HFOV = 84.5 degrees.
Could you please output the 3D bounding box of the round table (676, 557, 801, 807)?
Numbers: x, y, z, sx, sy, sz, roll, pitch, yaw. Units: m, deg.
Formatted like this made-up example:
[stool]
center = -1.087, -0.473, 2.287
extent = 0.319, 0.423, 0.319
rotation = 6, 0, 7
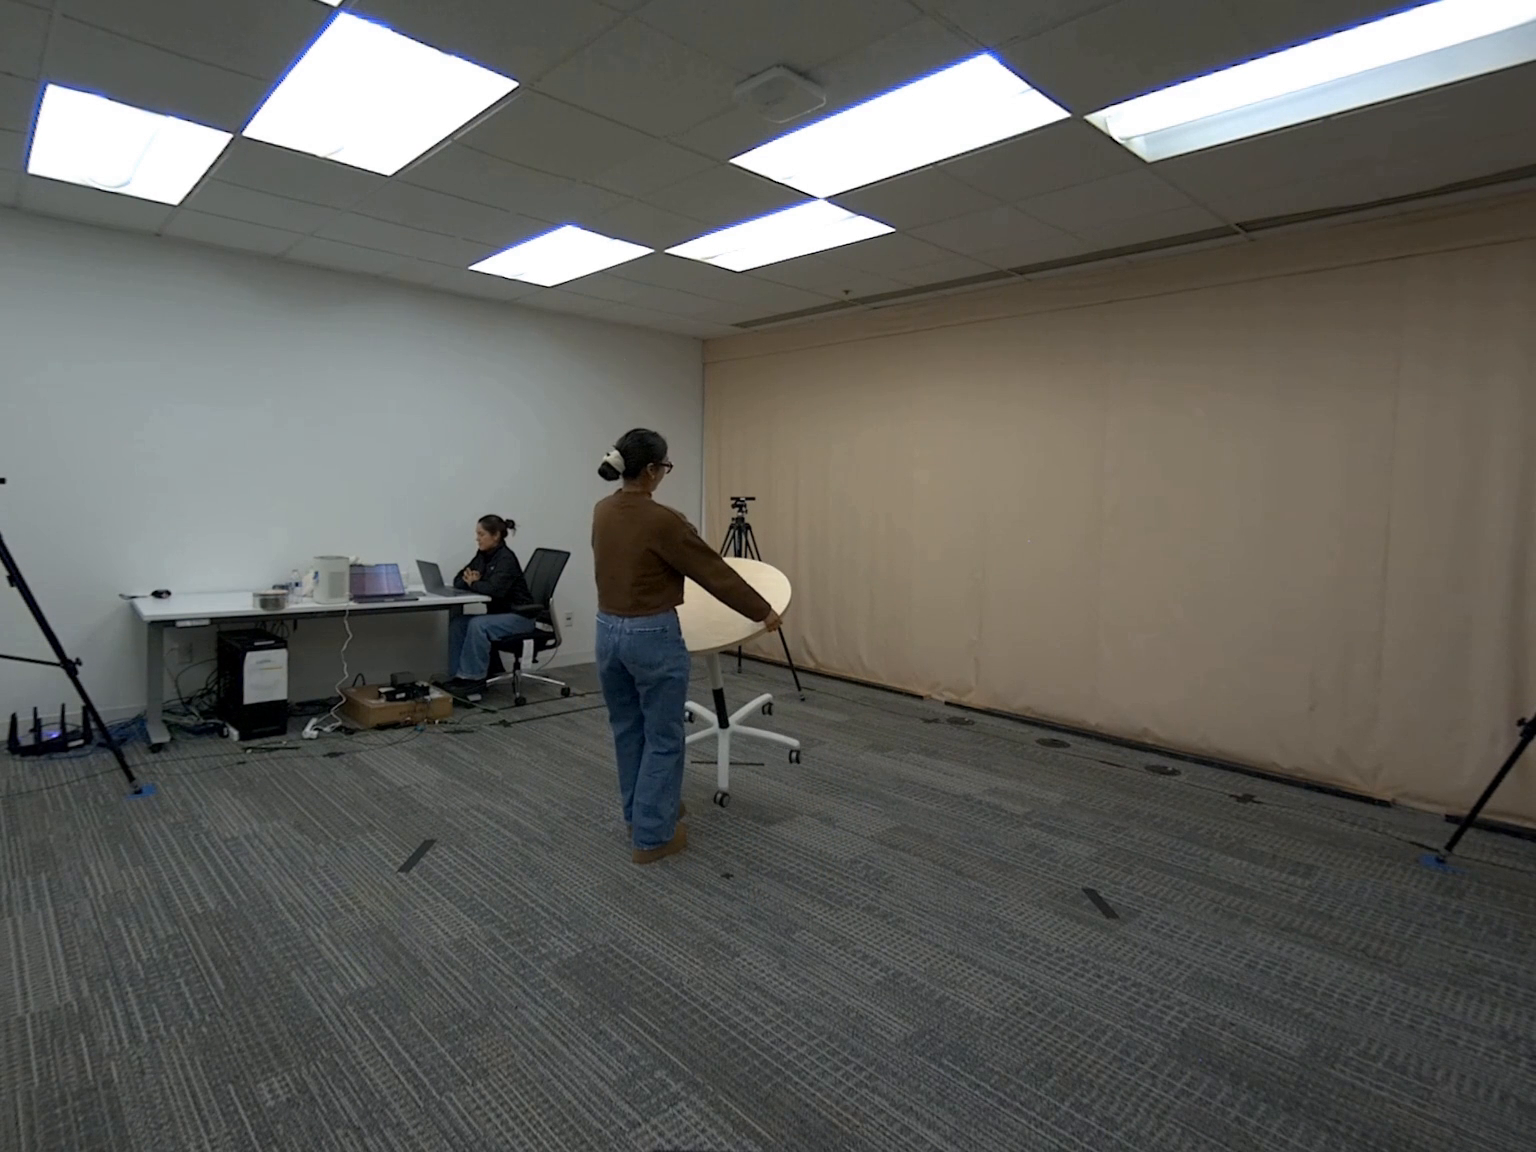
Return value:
[round table]
center = -0.242, 0.448, 3.731
extent = 0.786, 0.771, 0.799
rotation = -7, 27, 2
